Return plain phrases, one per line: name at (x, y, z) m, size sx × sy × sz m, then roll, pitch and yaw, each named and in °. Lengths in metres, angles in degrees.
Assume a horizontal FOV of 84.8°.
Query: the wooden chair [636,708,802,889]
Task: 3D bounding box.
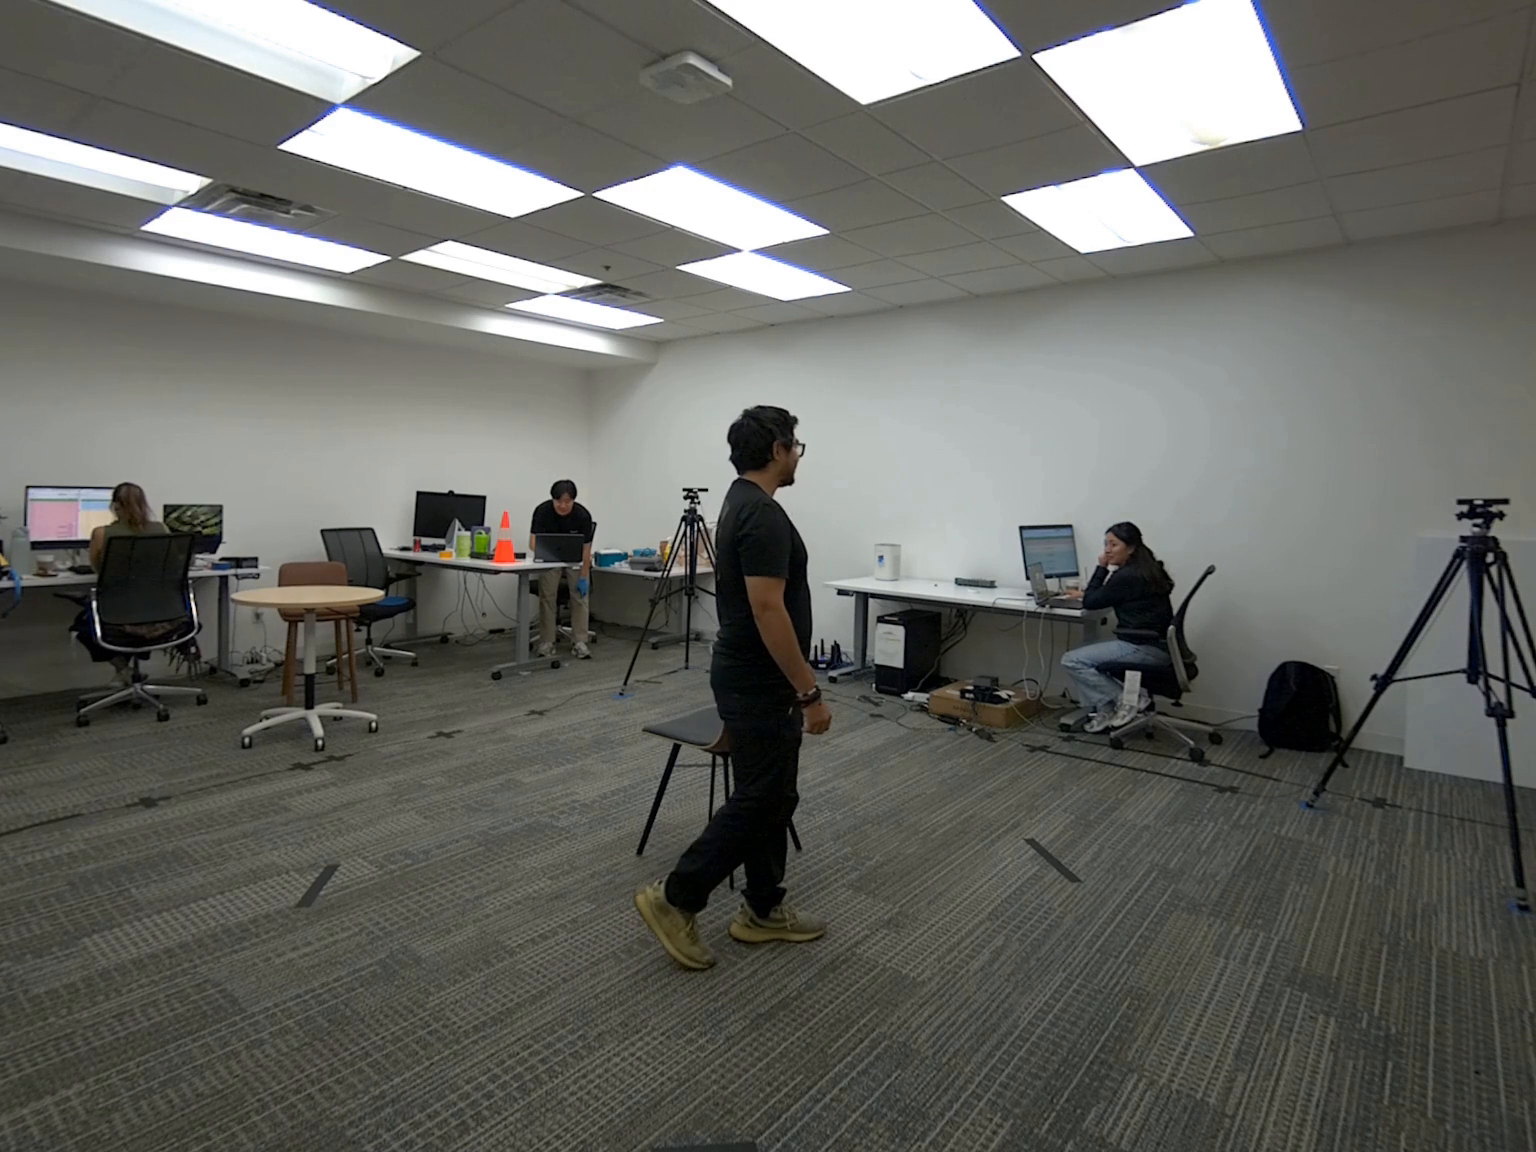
wooden chair at (-0.190, 0.629, 3.237) m, size 0.541 × 0.873 × 0.464 m, roll 9°, pitch 7°, yaw 35°
